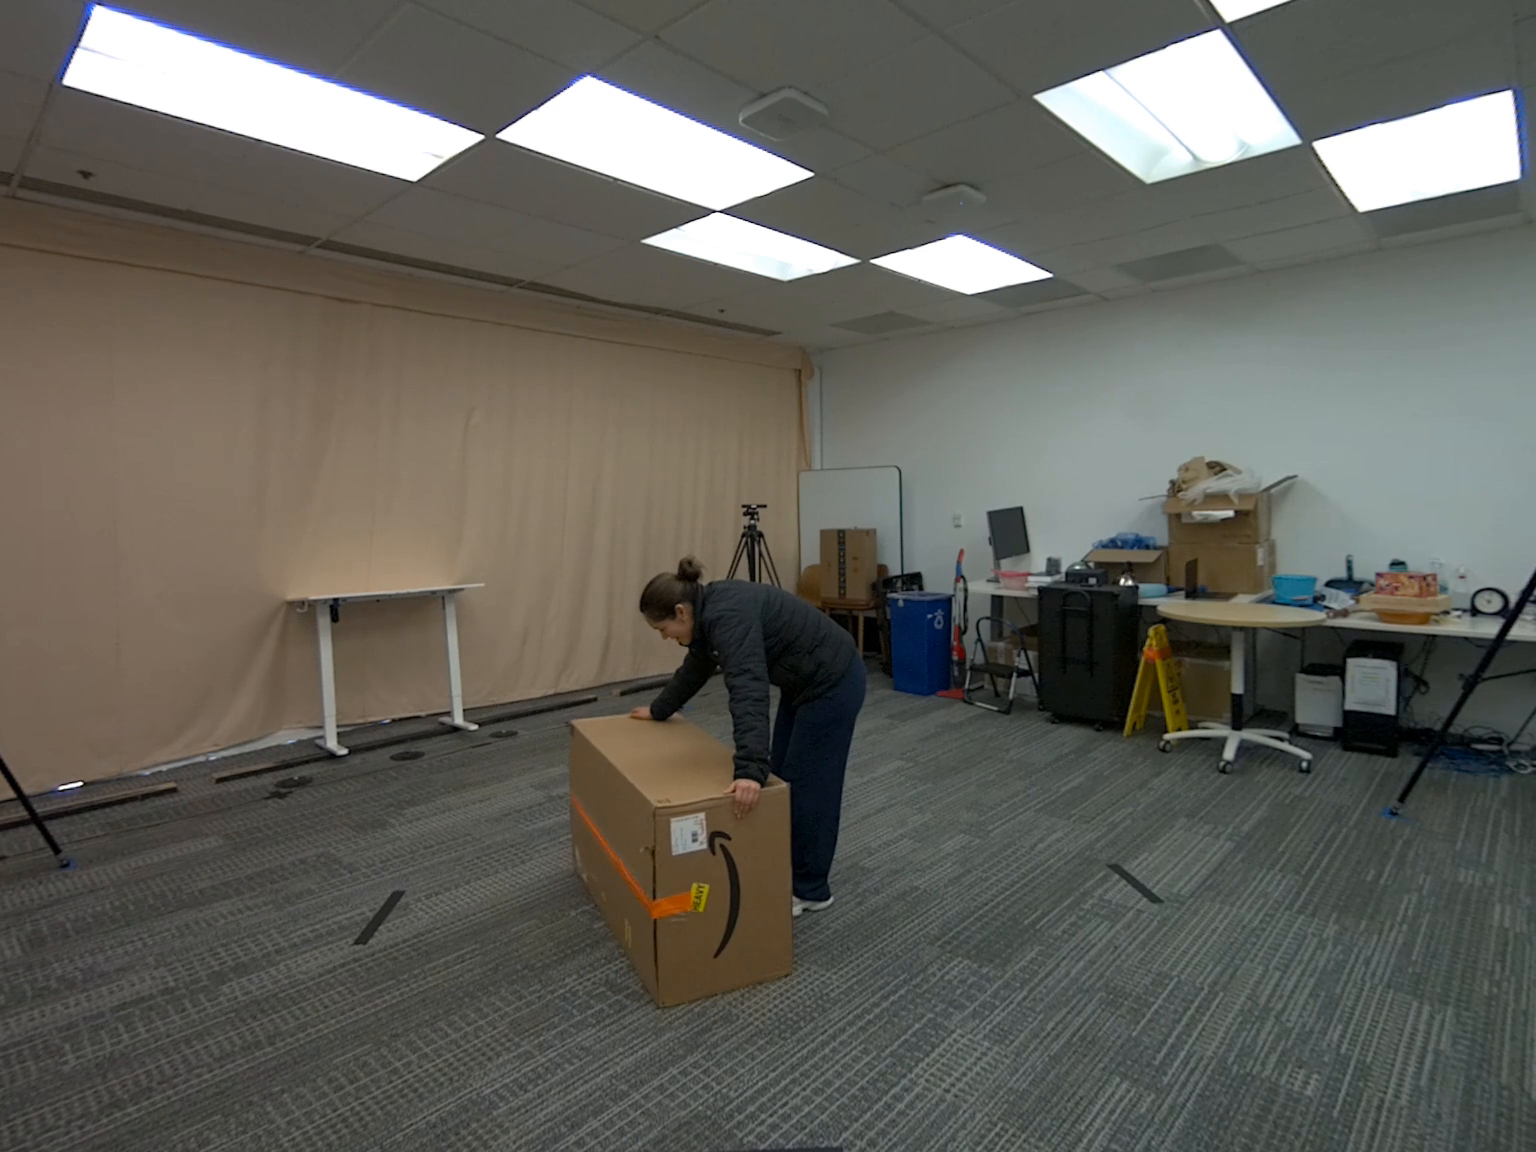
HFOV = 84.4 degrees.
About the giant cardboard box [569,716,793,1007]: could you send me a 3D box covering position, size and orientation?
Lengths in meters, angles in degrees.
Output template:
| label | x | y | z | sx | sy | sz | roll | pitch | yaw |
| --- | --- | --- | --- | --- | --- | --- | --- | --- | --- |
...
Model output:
| label | x | y | z | sx | sy | sz | roll | pitch | yaw |
| --- | --- | --- | --- | --- | --- | --- | --- | --- | --- |
| giant cardboard box | -0.336 | 0.870 | 2.865 | 0.436 | 0.583 | 1.053 | -1 | 4 | -25 |
